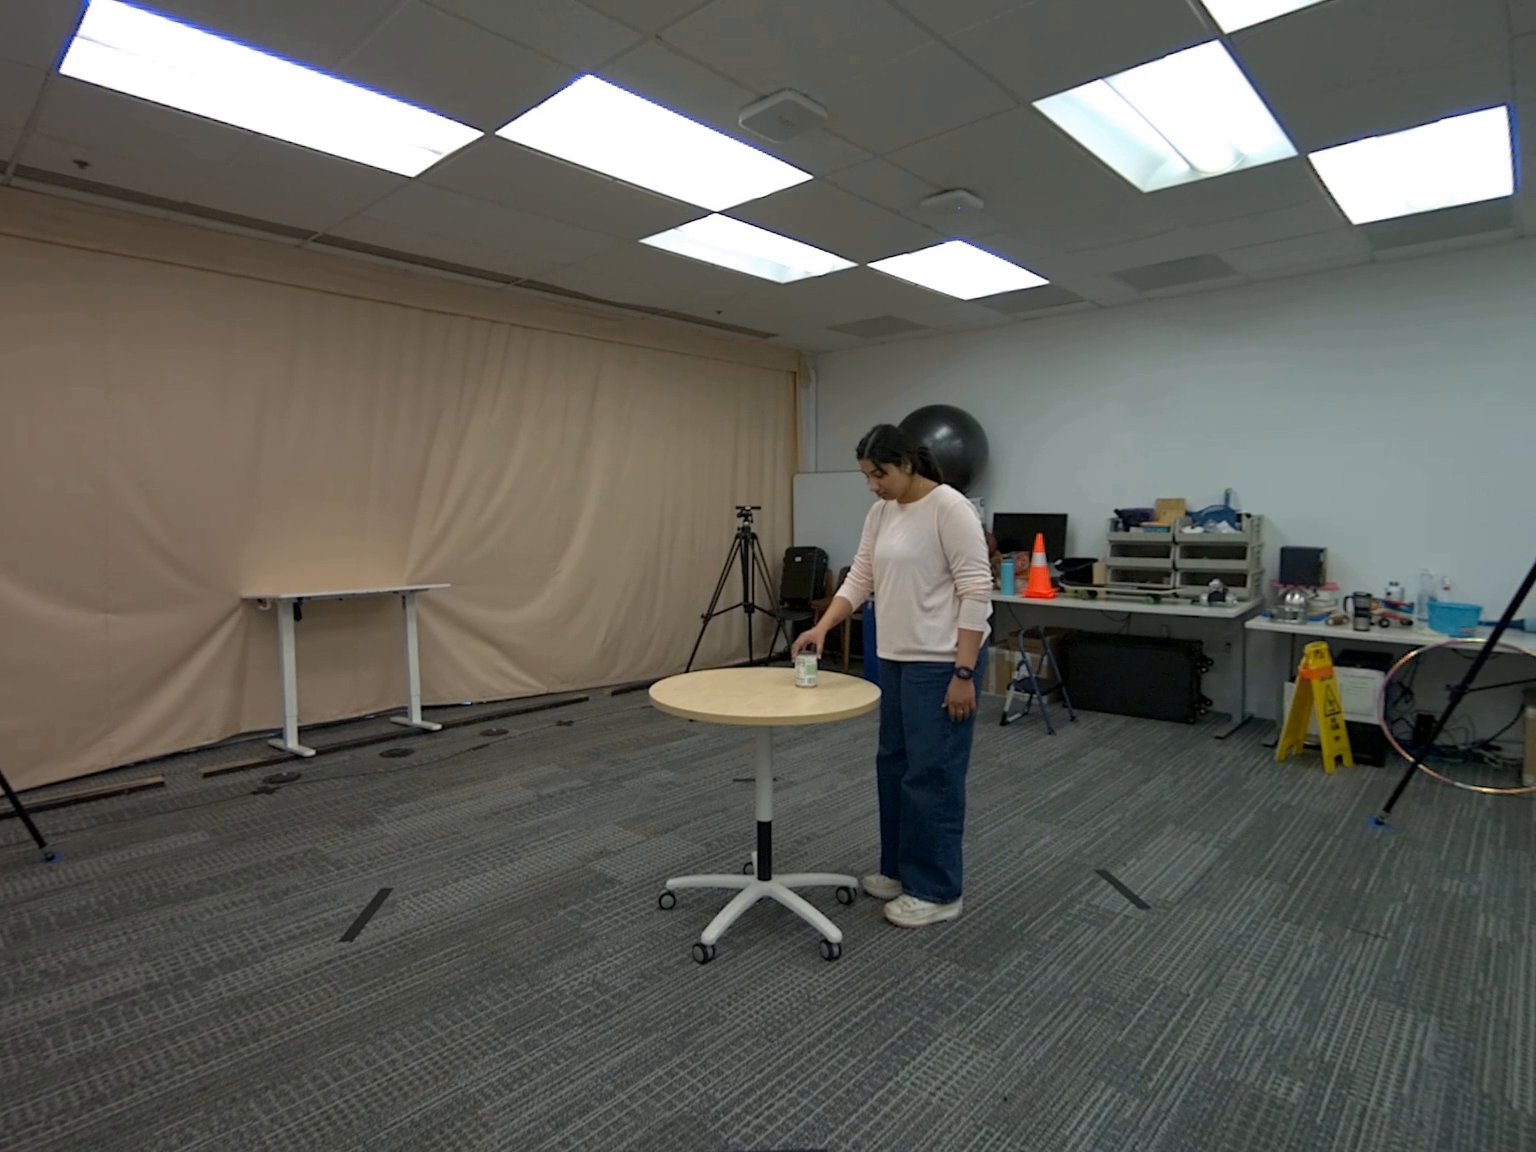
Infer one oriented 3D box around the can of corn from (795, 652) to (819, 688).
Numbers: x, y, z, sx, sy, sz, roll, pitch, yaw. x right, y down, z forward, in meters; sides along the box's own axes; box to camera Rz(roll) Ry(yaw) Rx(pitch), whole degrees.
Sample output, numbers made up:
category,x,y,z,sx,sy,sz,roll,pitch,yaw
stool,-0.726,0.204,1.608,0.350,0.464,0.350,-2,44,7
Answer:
category,x,y,z,sx,sy,sz,roll,pitch,yaw
can of corn,0.137,0.321,2.841,0.074,0.111,0.074,2,2,-2
